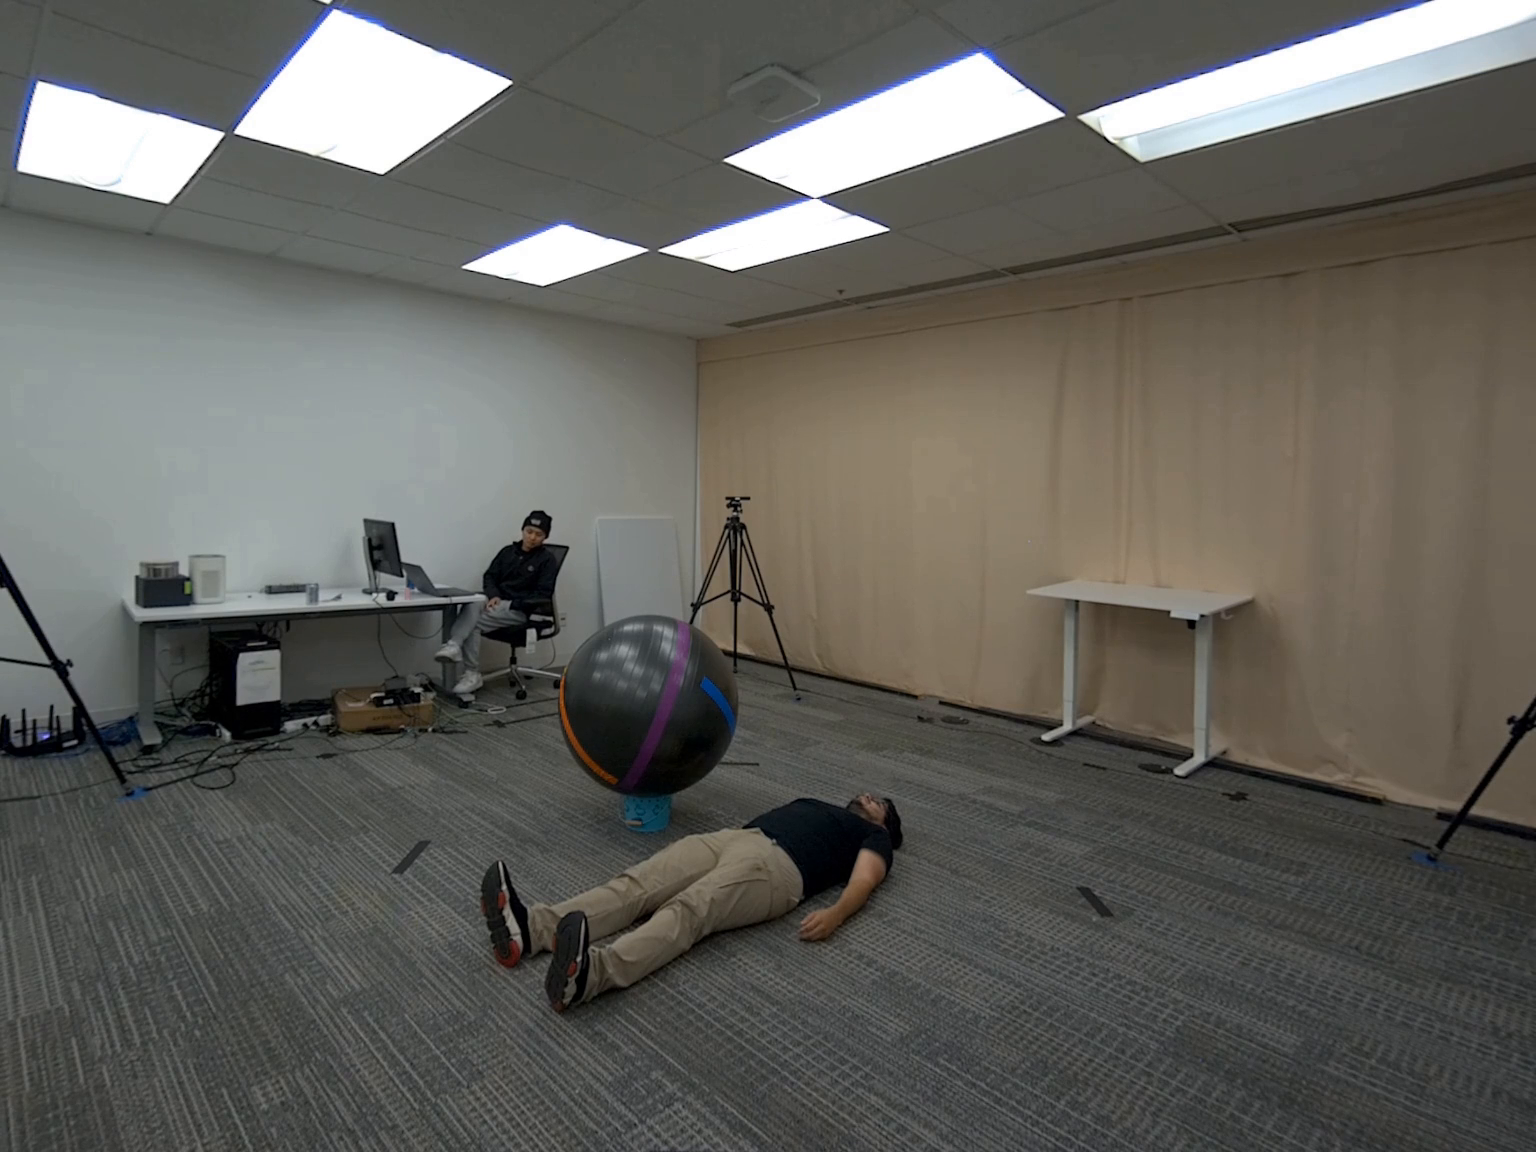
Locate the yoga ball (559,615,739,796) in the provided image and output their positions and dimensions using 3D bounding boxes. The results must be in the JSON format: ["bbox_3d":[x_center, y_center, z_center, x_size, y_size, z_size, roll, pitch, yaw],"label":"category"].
[{"bbox_3d":[-0.509,0.546,3.567,0.757,0.755,0.761,1,5,-1],"label":"yoga ball"}]
